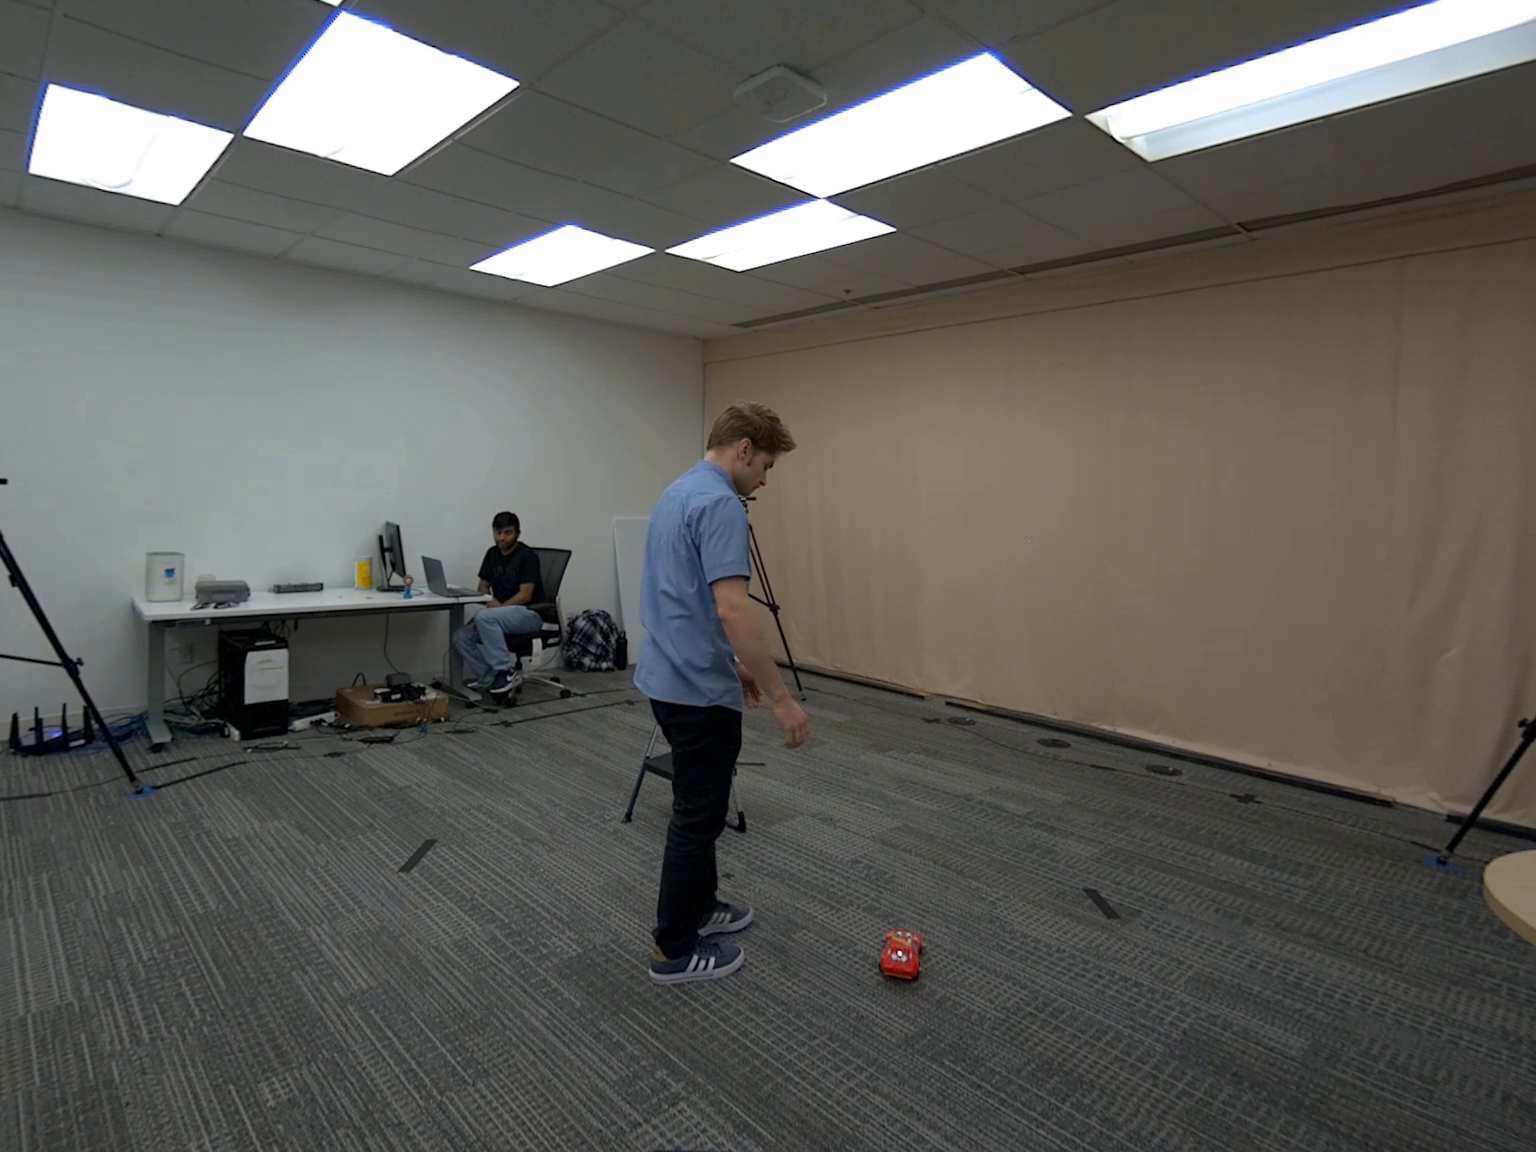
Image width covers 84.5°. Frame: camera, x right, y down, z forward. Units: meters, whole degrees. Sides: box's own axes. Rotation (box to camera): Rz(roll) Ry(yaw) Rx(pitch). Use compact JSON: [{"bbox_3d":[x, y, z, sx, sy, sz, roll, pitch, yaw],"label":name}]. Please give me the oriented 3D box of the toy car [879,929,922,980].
[{"bbox_3d":[0.396,1.142,2.523,0.132,0.083,0.250,3,-6,13],"label":"toy car"}]
